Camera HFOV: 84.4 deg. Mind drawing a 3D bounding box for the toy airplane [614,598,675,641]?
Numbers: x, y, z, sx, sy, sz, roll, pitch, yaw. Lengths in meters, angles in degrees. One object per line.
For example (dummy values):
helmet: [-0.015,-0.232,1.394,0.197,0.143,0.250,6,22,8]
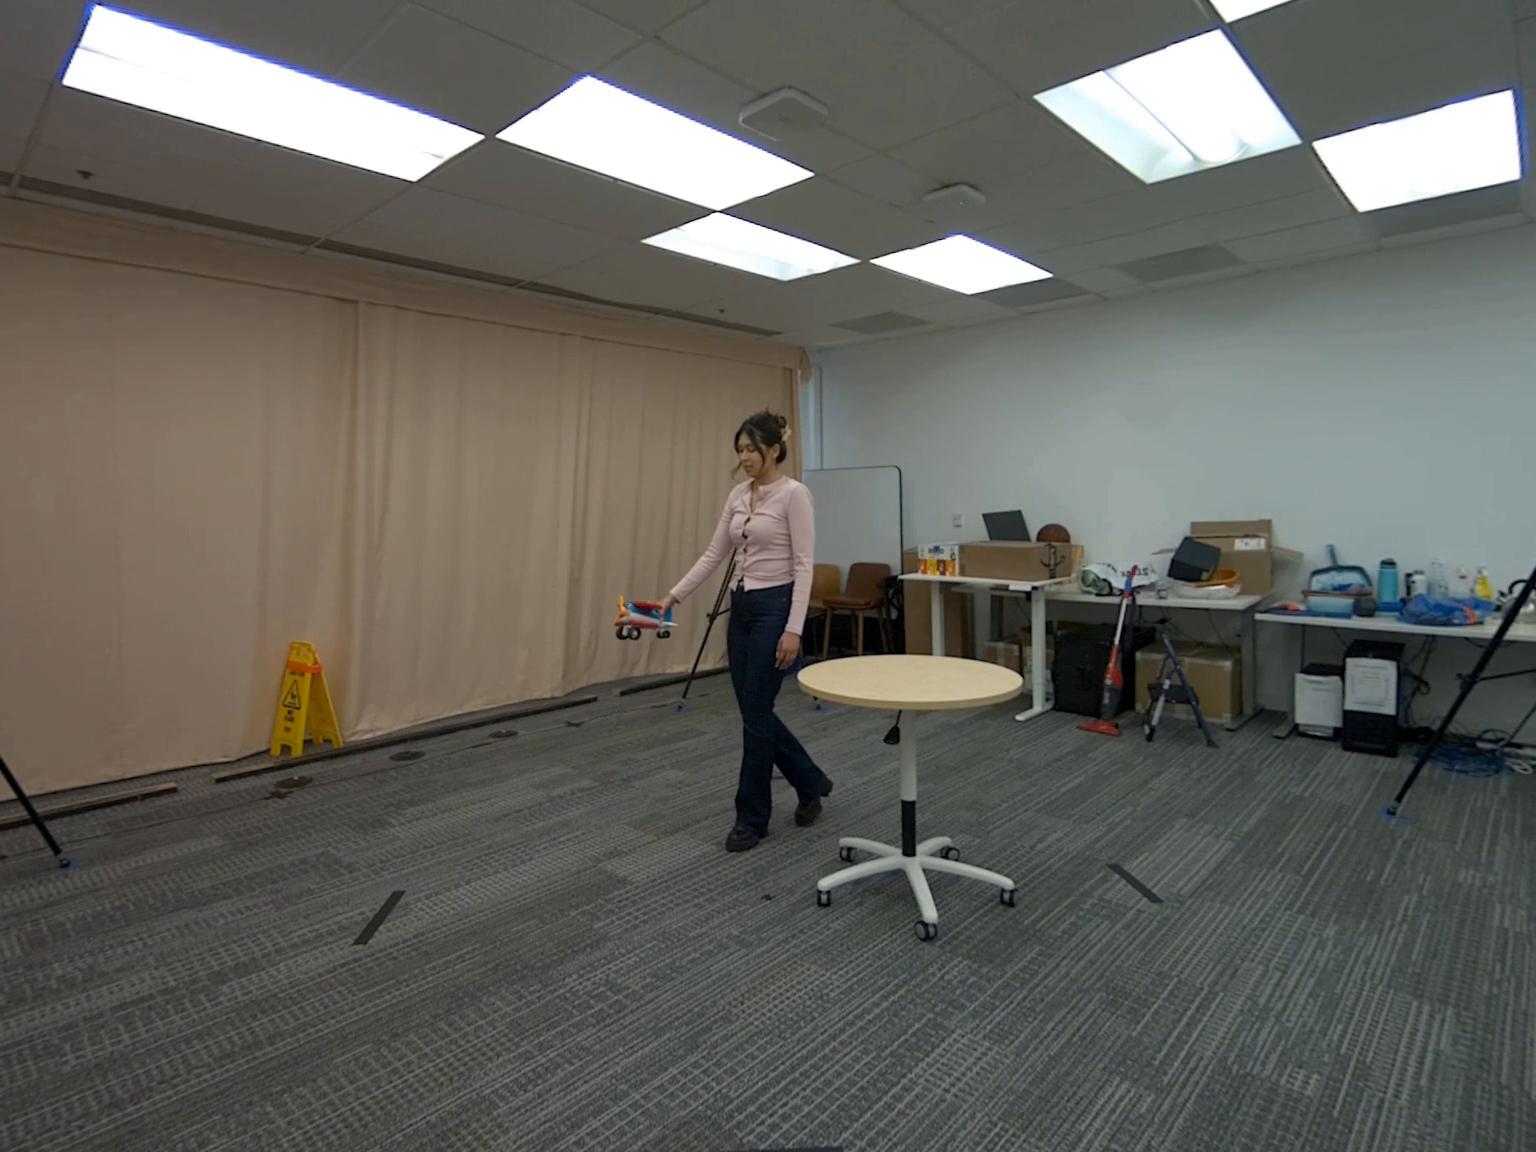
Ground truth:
toy airplane: [-0.512,0.182,3.491,0.256,0.156,0.254,-6,0,20]
